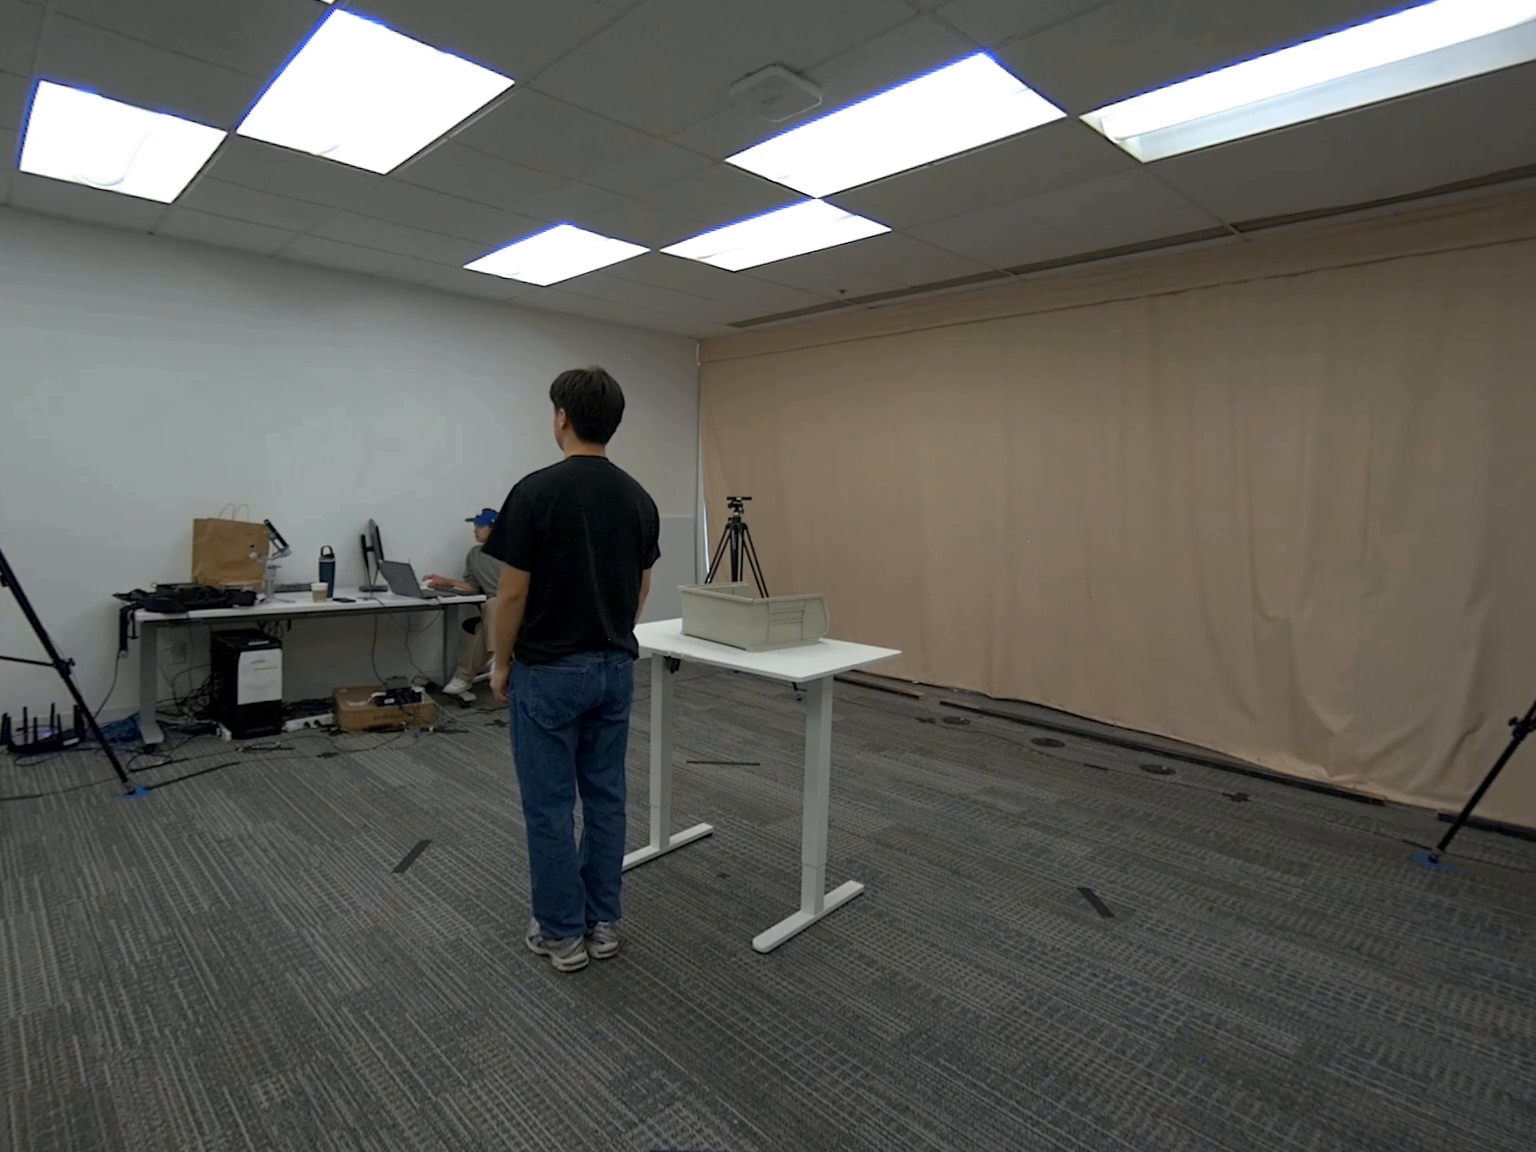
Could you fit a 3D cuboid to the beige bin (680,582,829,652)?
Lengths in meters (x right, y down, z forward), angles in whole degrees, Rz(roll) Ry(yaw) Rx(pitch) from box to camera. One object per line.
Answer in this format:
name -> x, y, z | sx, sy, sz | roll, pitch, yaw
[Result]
beige bin -> -0.060, 0.142, 3.055 | 0.369, 0.188, 0.433 | -5, 8, -41
